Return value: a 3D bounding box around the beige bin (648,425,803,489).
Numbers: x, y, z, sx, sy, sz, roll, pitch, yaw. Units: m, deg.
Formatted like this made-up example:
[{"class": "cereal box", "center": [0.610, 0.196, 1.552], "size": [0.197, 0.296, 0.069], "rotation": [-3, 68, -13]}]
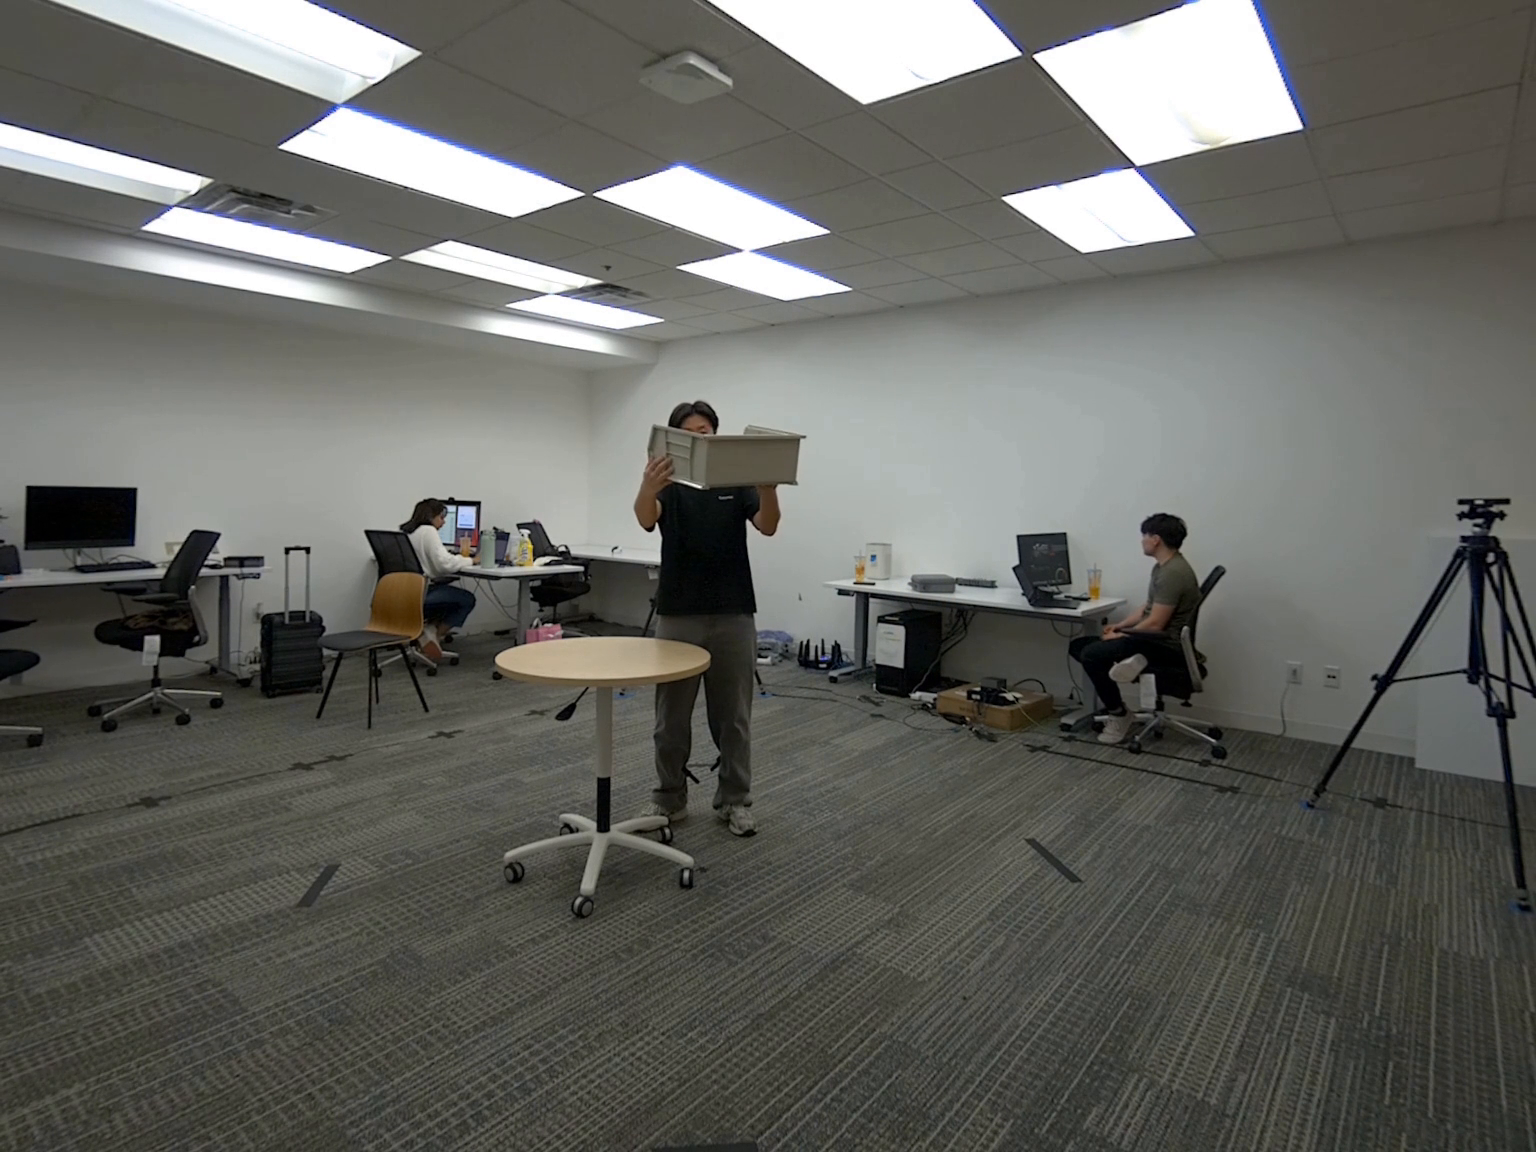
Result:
[{"class": "beige bin", "center": [-0.165, -0.439, 3.007], "size": [0.411, 0.187, 0.392], "rotation": [-6, 18, -36]}]
